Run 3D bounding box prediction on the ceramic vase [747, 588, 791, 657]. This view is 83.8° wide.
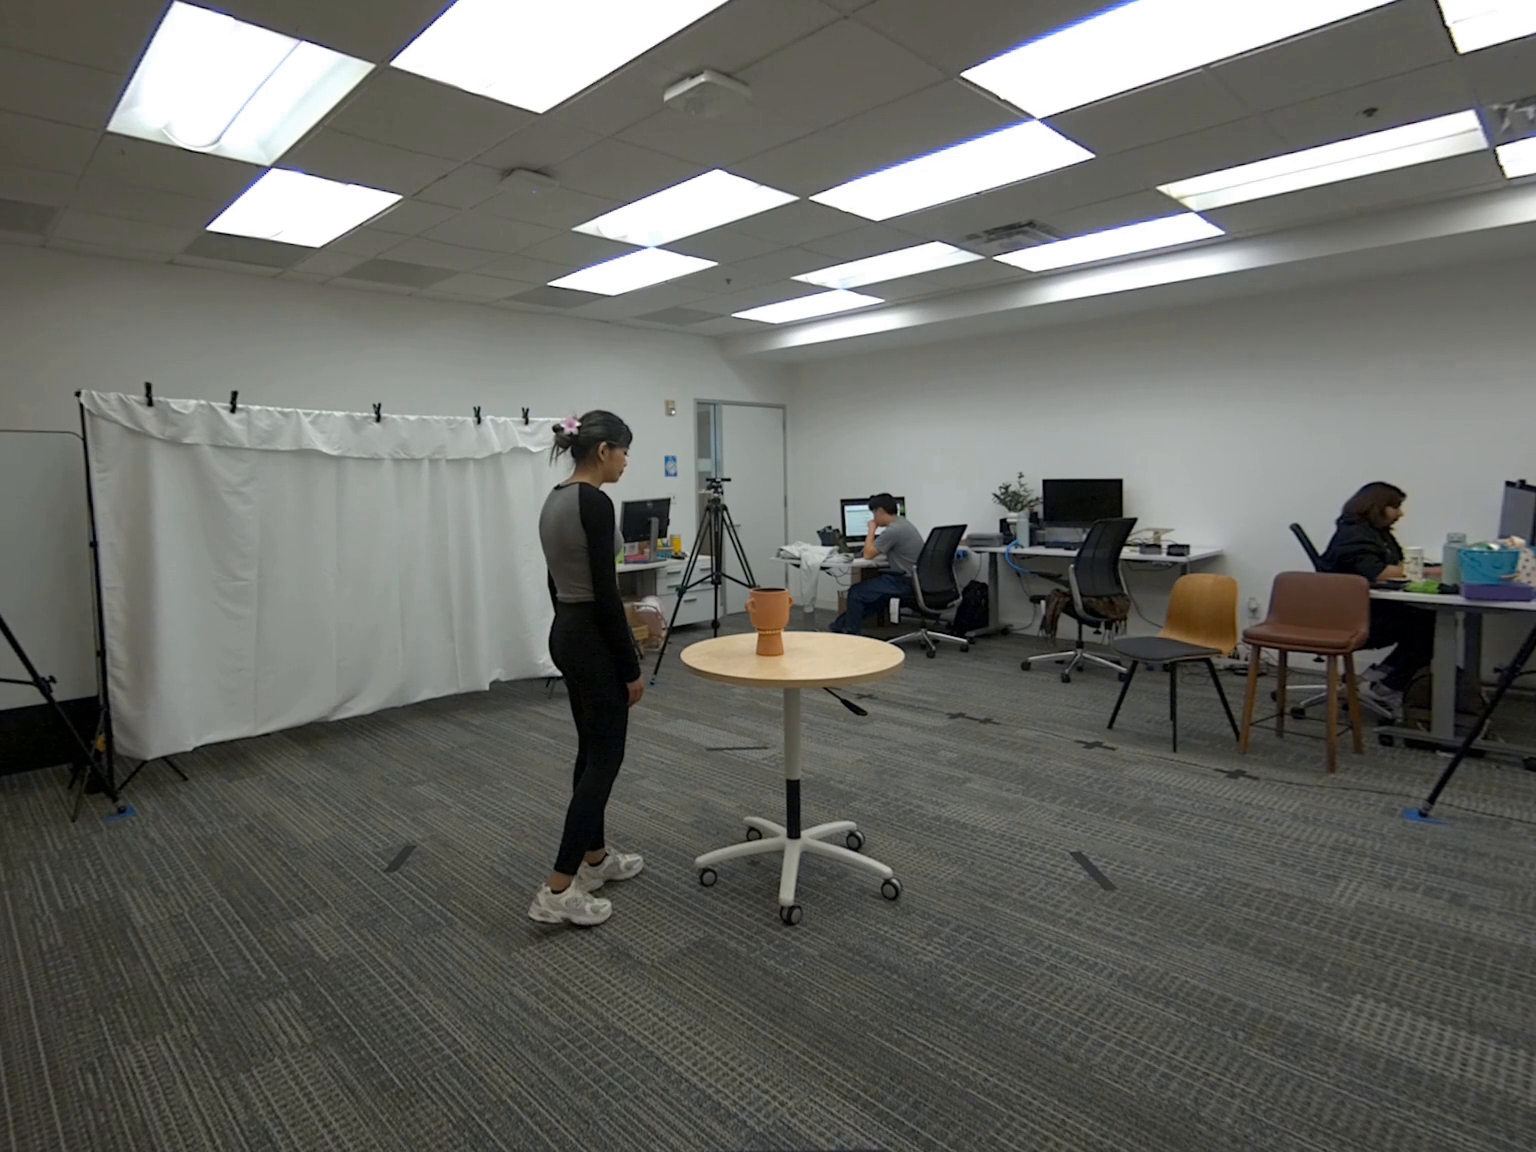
[{"bbox_3d":[0.004,0.154,2.938,0.160,0.219,0.134,0,4,6],"label":"ceramic vase"}]
